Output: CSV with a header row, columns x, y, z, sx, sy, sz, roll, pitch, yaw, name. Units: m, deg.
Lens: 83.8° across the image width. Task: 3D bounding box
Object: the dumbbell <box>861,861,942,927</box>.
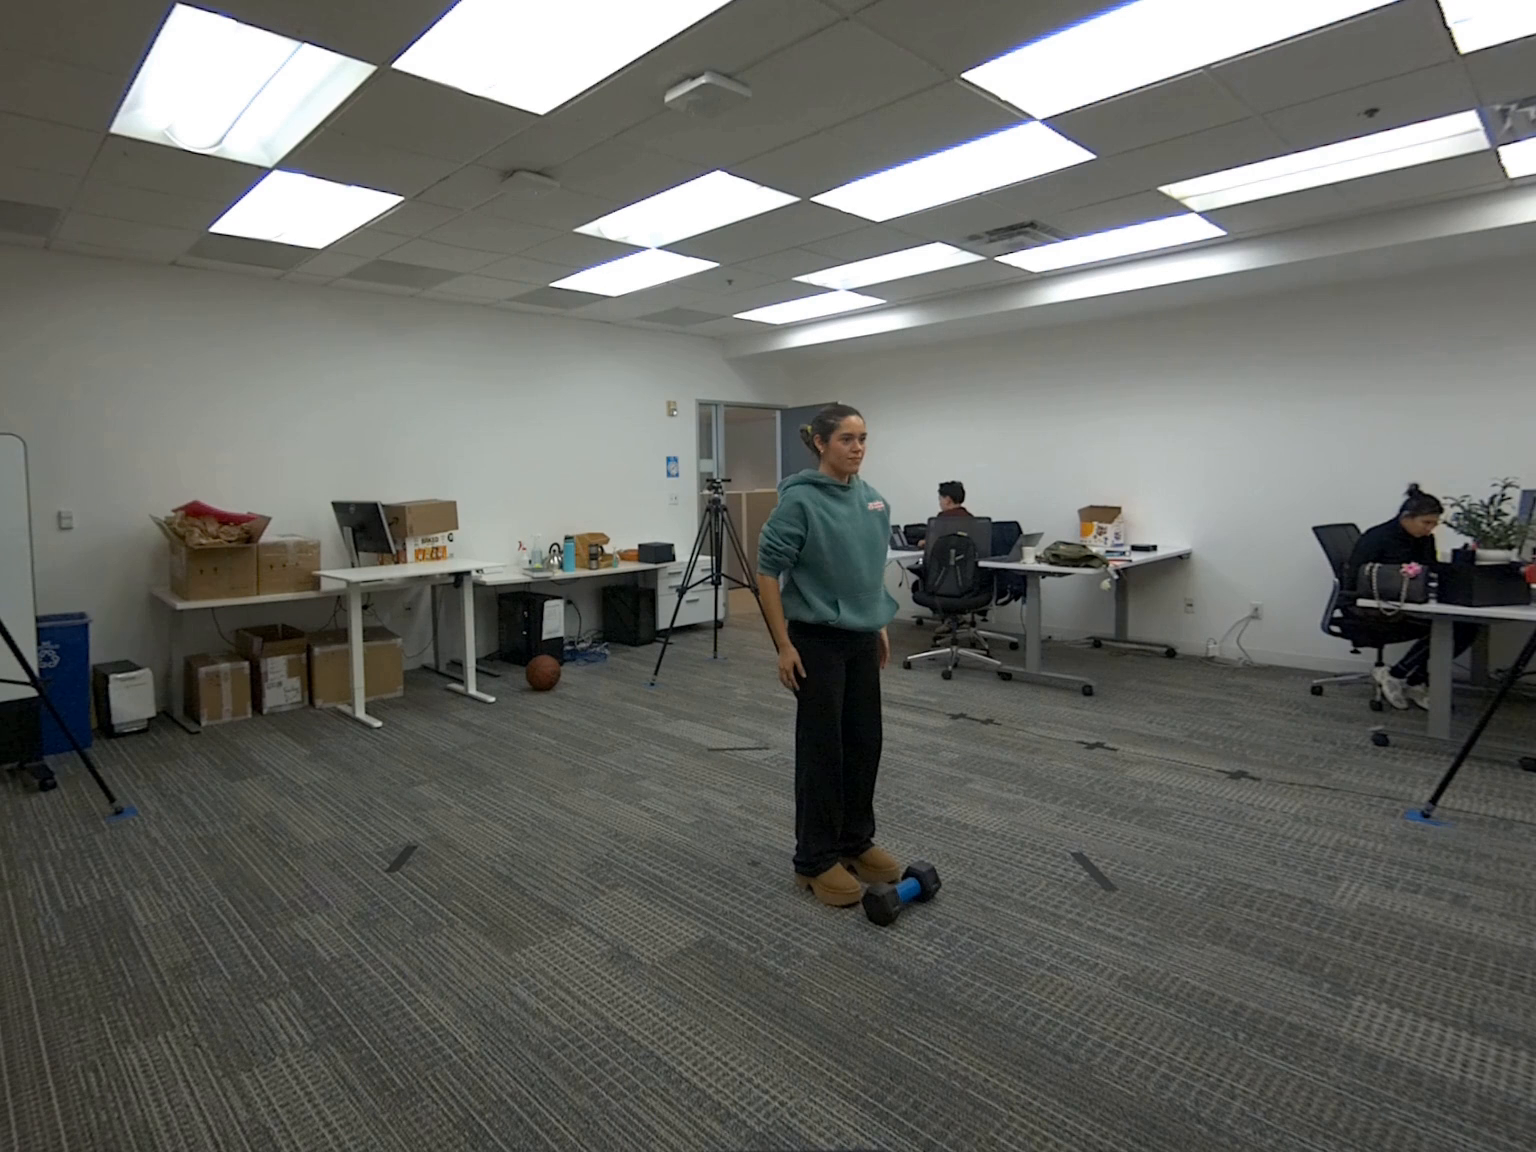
x,y,z,sx,sy,sz,roll,pitch,yaw,name
0.439,1.024,2.758,0.286,0.121,0.113,-7,39,-42,dumbbell
